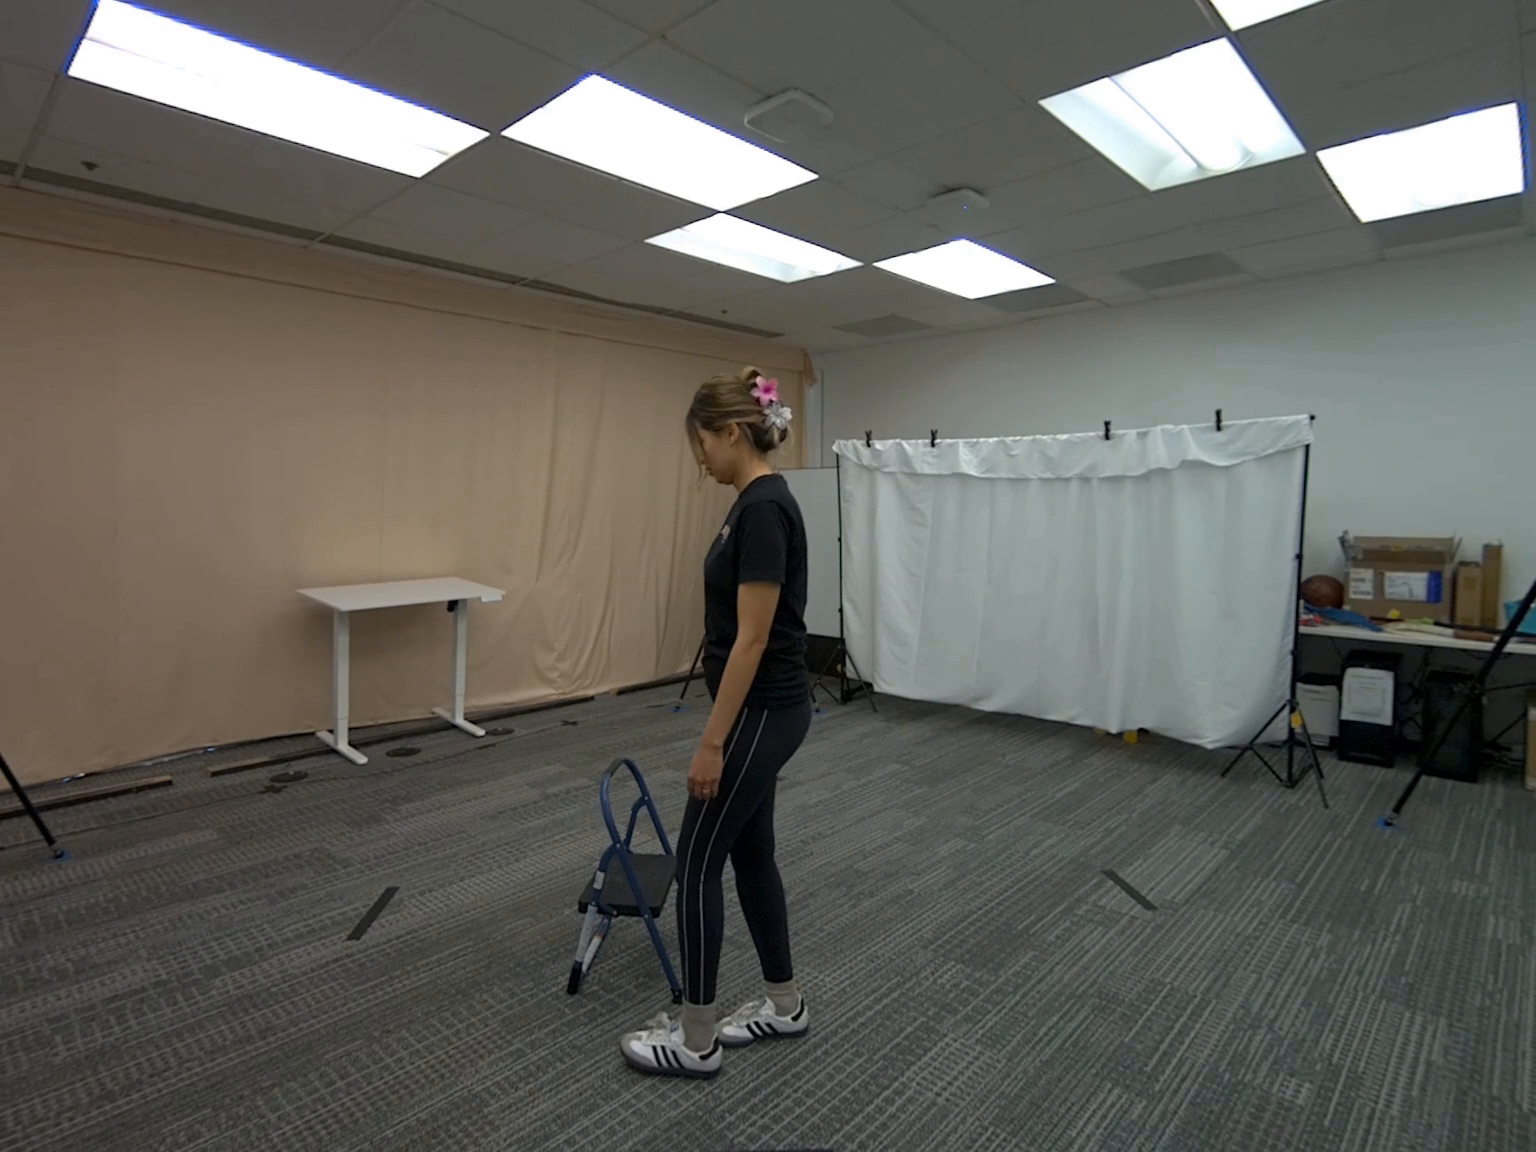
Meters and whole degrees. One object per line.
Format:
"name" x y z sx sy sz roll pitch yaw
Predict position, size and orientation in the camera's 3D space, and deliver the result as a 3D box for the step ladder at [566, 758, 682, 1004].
"step ladder" -0.391 0.881 2.567 0.351 0.605 0.429 1 3 4
